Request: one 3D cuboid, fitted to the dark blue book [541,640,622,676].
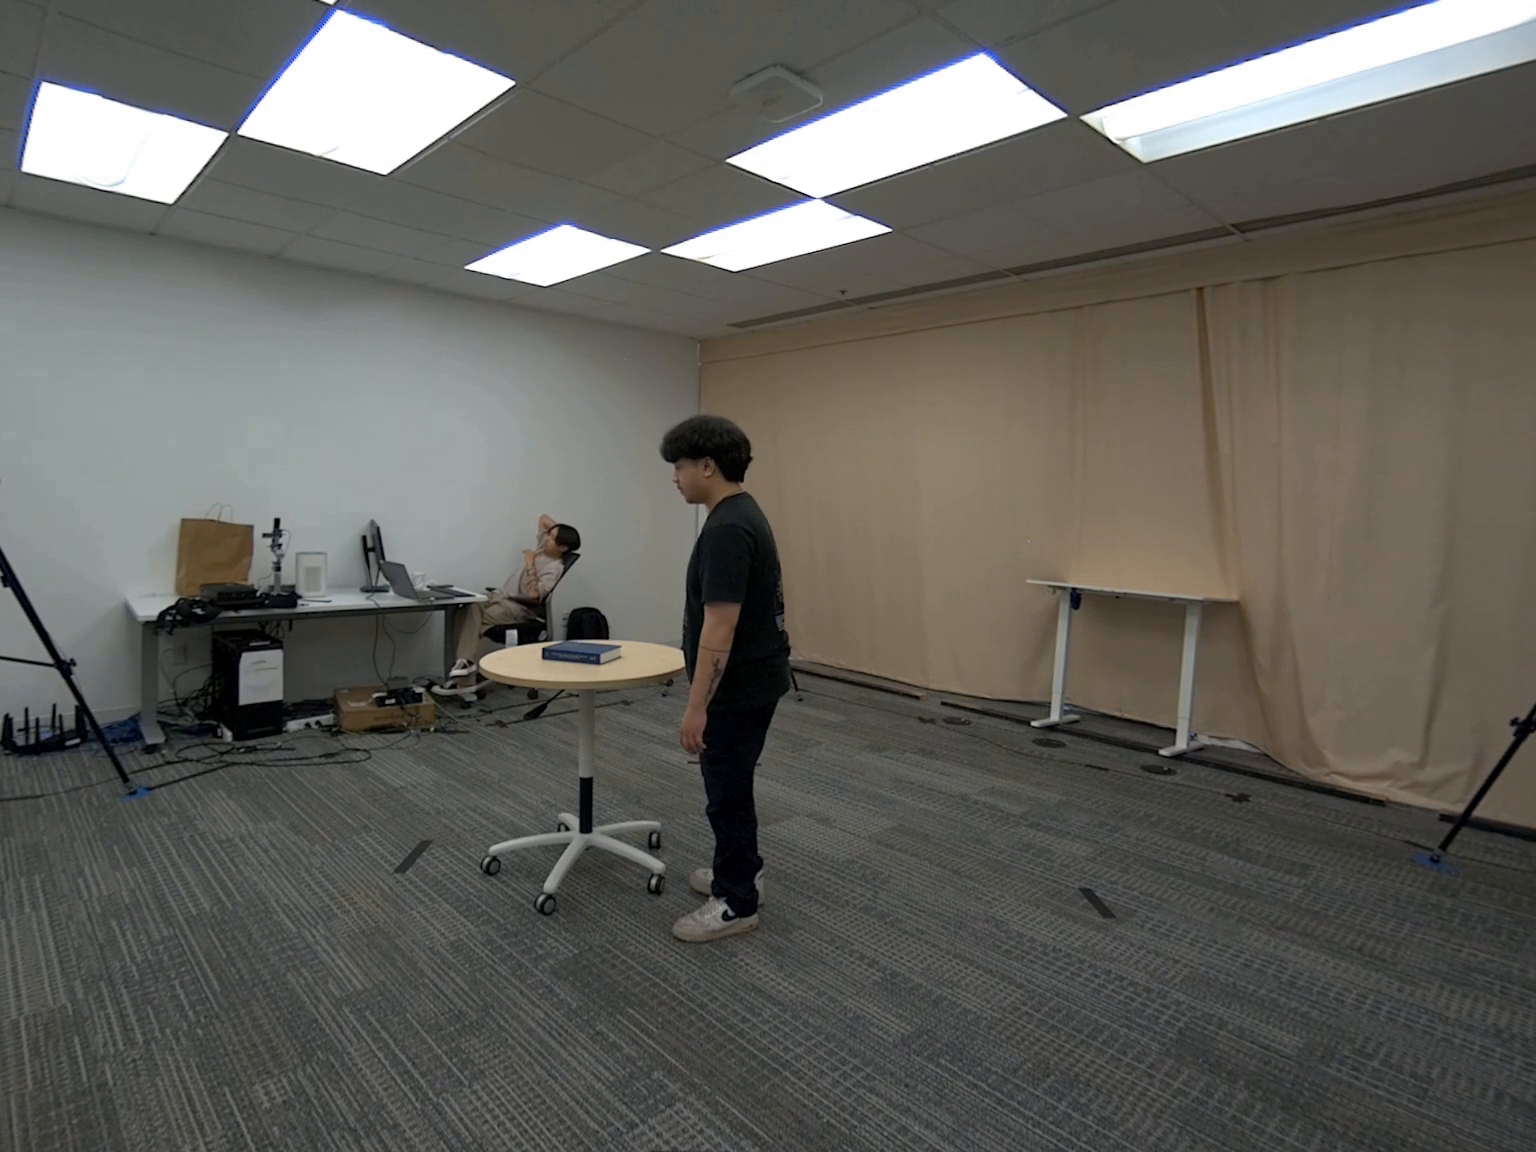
[{"bbox_3d":[-0.706,0.286,3.095,0.249,0.045,0.161,3,5,20],"label":"dark blue book"}]
